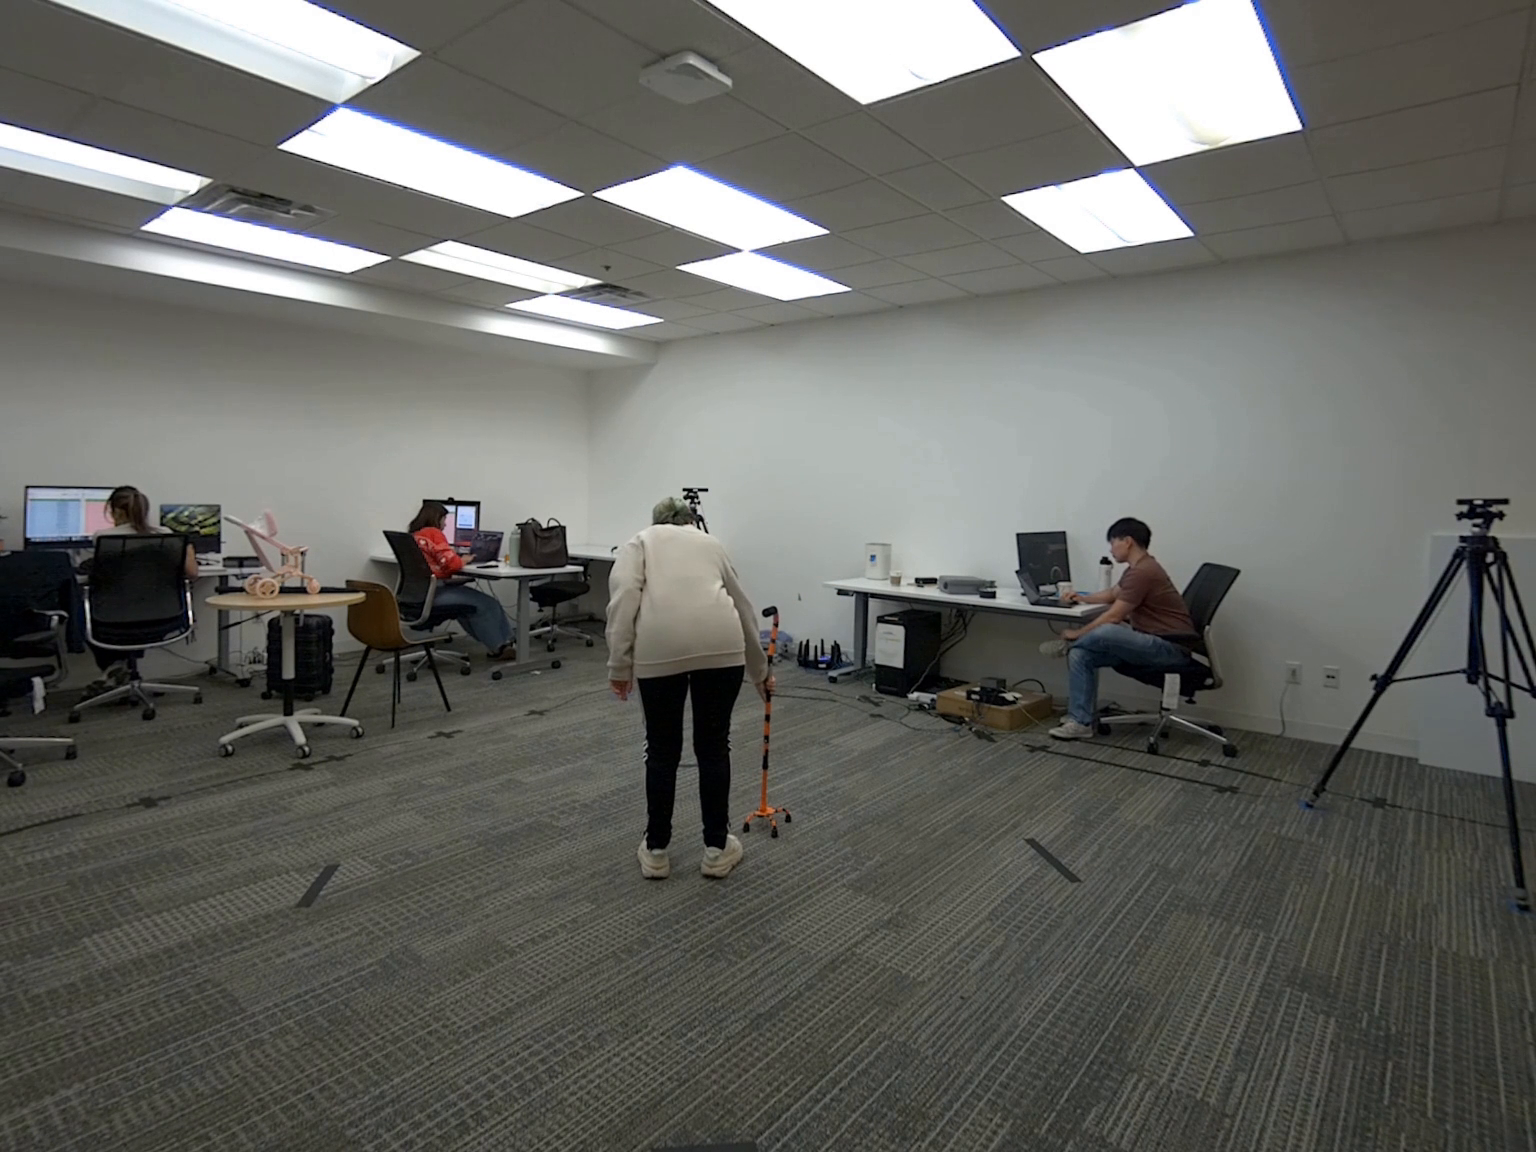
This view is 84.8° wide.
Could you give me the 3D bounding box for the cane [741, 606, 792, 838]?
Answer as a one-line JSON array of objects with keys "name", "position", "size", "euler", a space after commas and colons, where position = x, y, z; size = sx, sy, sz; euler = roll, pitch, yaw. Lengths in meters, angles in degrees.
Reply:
[{"name": "cane", "position": [0.002, 0.578, 3.507], "size": [0.155, 0.906, 0.202], "euler": [2, 2, 21]}]
